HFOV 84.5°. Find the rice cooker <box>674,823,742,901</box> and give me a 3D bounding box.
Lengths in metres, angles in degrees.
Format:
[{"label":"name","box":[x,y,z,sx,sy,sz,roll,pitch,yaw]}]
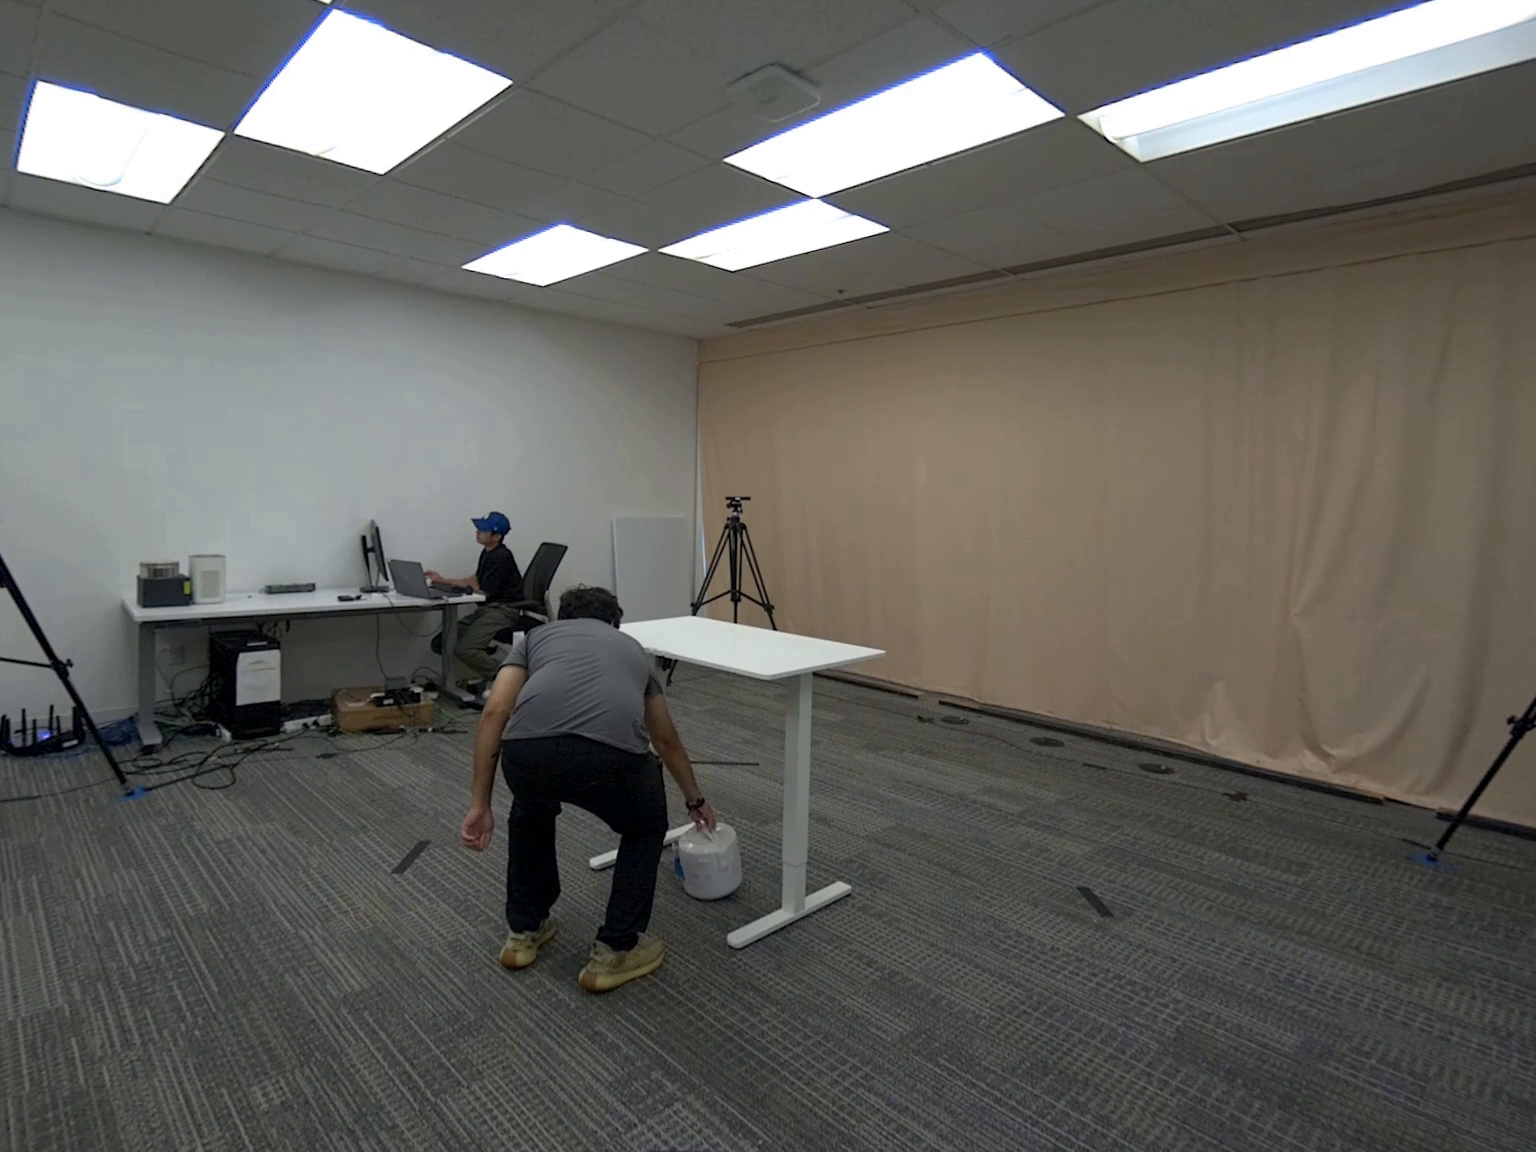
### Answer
[{"label":"rice cooker","box":[-0.211,0.989,2.970,0.214,0.231,0.226,-14,13,-30]}]
